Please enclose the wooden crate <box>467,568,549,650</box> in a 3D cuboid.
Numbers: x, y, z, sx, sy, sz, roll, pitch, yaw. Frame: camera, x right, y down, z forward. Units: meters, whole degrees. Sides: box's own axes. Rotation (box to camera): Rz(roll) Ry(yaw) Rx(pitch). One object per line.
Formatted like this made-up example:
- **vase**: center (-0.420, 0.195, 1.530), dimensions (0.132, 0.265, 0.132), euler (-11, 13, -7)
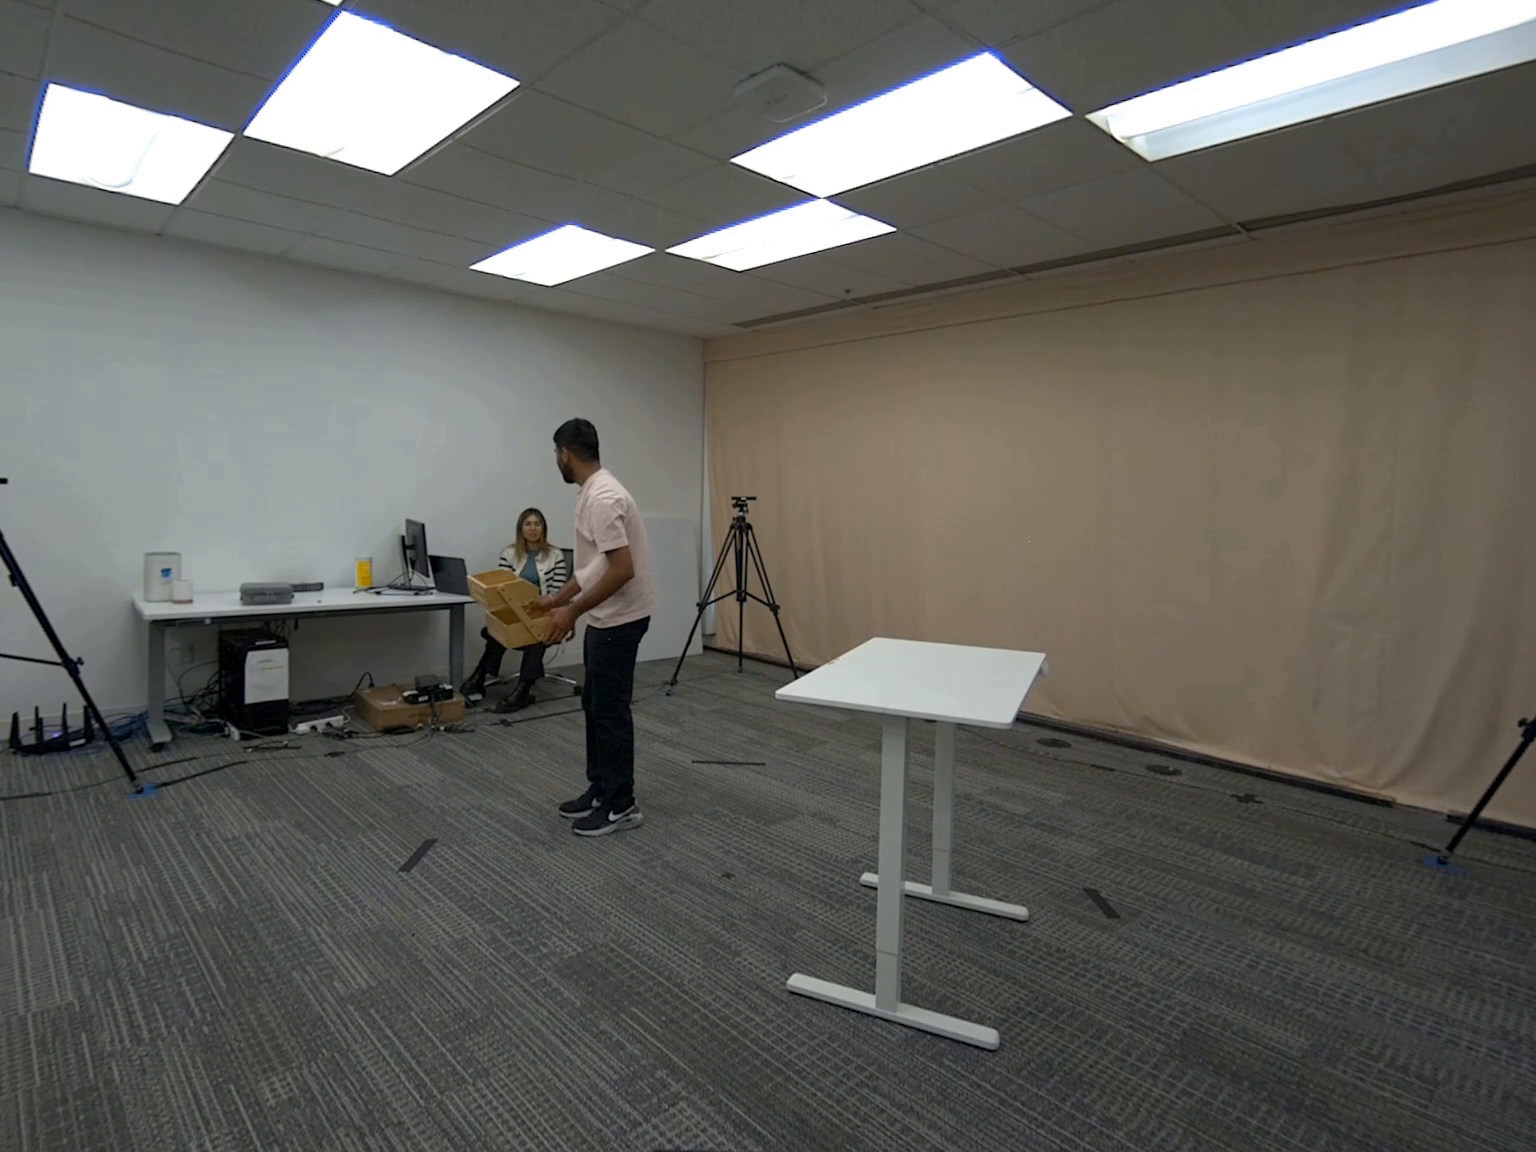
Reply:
- **wooden crate**: center (-1.025, 0.120, 3.424), dimensions (0.297, 0.270, 0.333), euler (-13, 15, -30)
